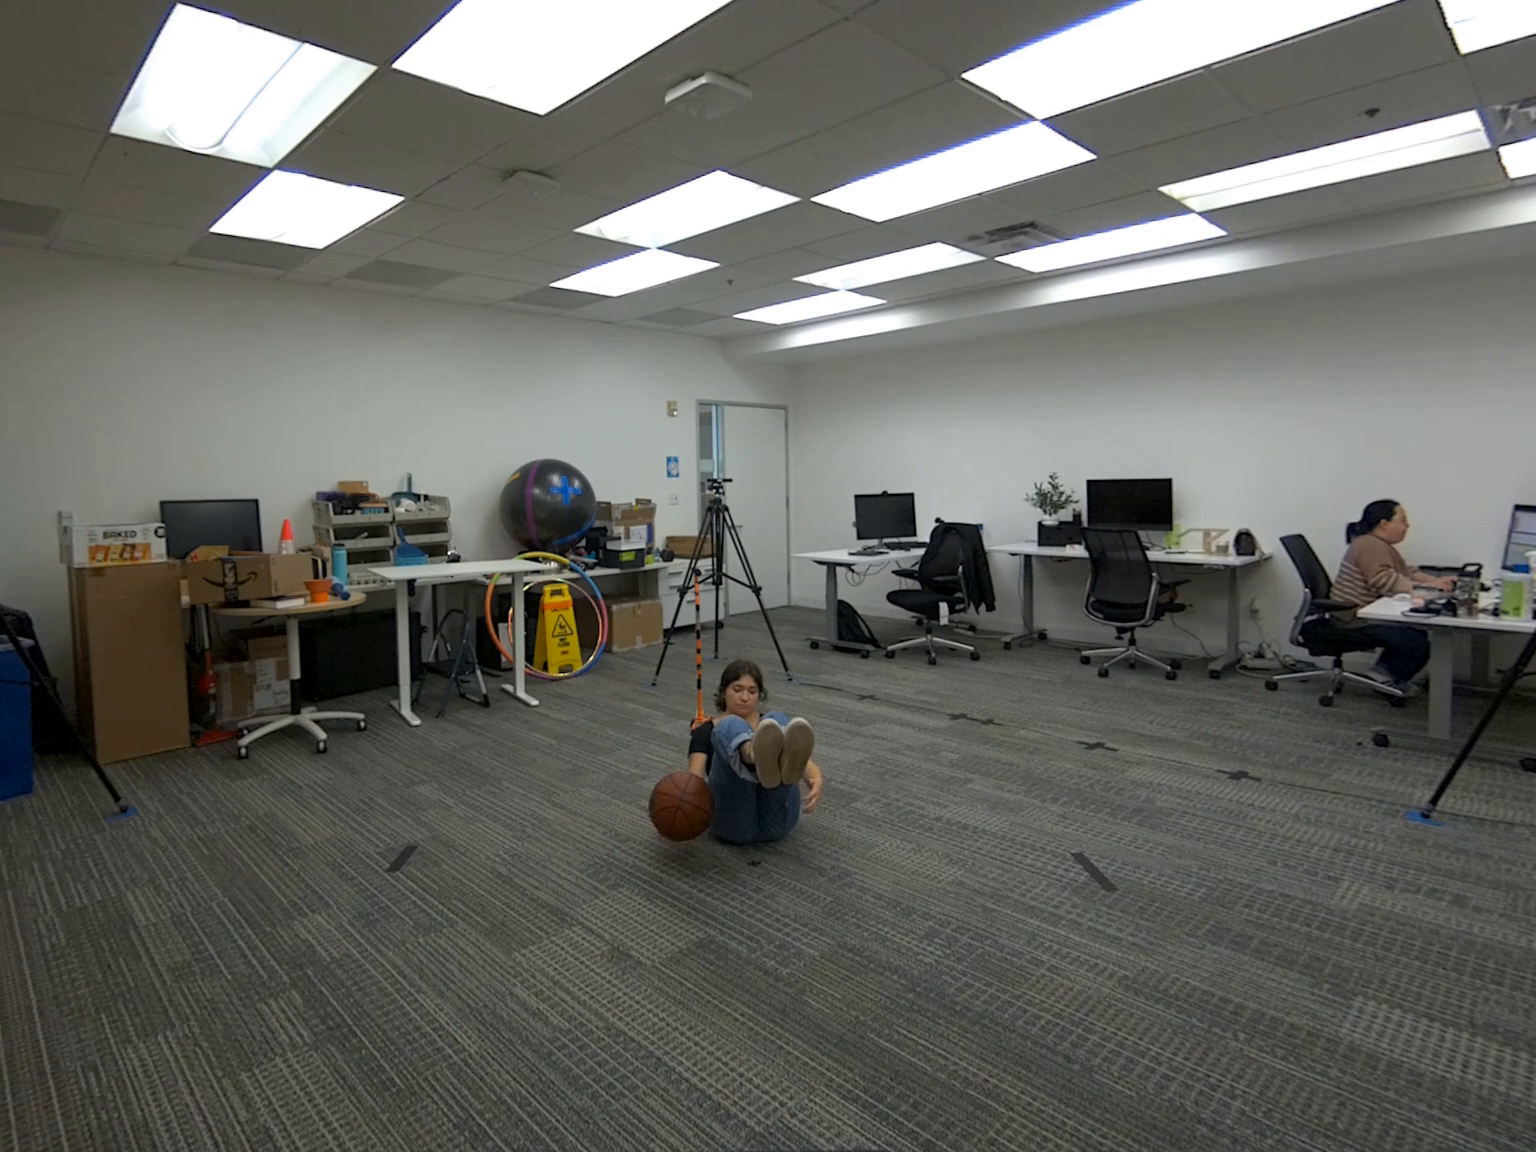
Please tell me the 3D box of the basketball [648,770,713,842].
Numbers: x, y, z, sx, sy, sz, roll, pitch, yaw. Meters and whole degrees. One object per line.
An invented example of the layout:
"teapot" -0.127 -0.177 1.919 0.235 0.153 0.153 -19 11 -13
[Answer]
"basketball" -0.292 0.815 3.084 0.236 0.235 0.237 -1 5 -2
